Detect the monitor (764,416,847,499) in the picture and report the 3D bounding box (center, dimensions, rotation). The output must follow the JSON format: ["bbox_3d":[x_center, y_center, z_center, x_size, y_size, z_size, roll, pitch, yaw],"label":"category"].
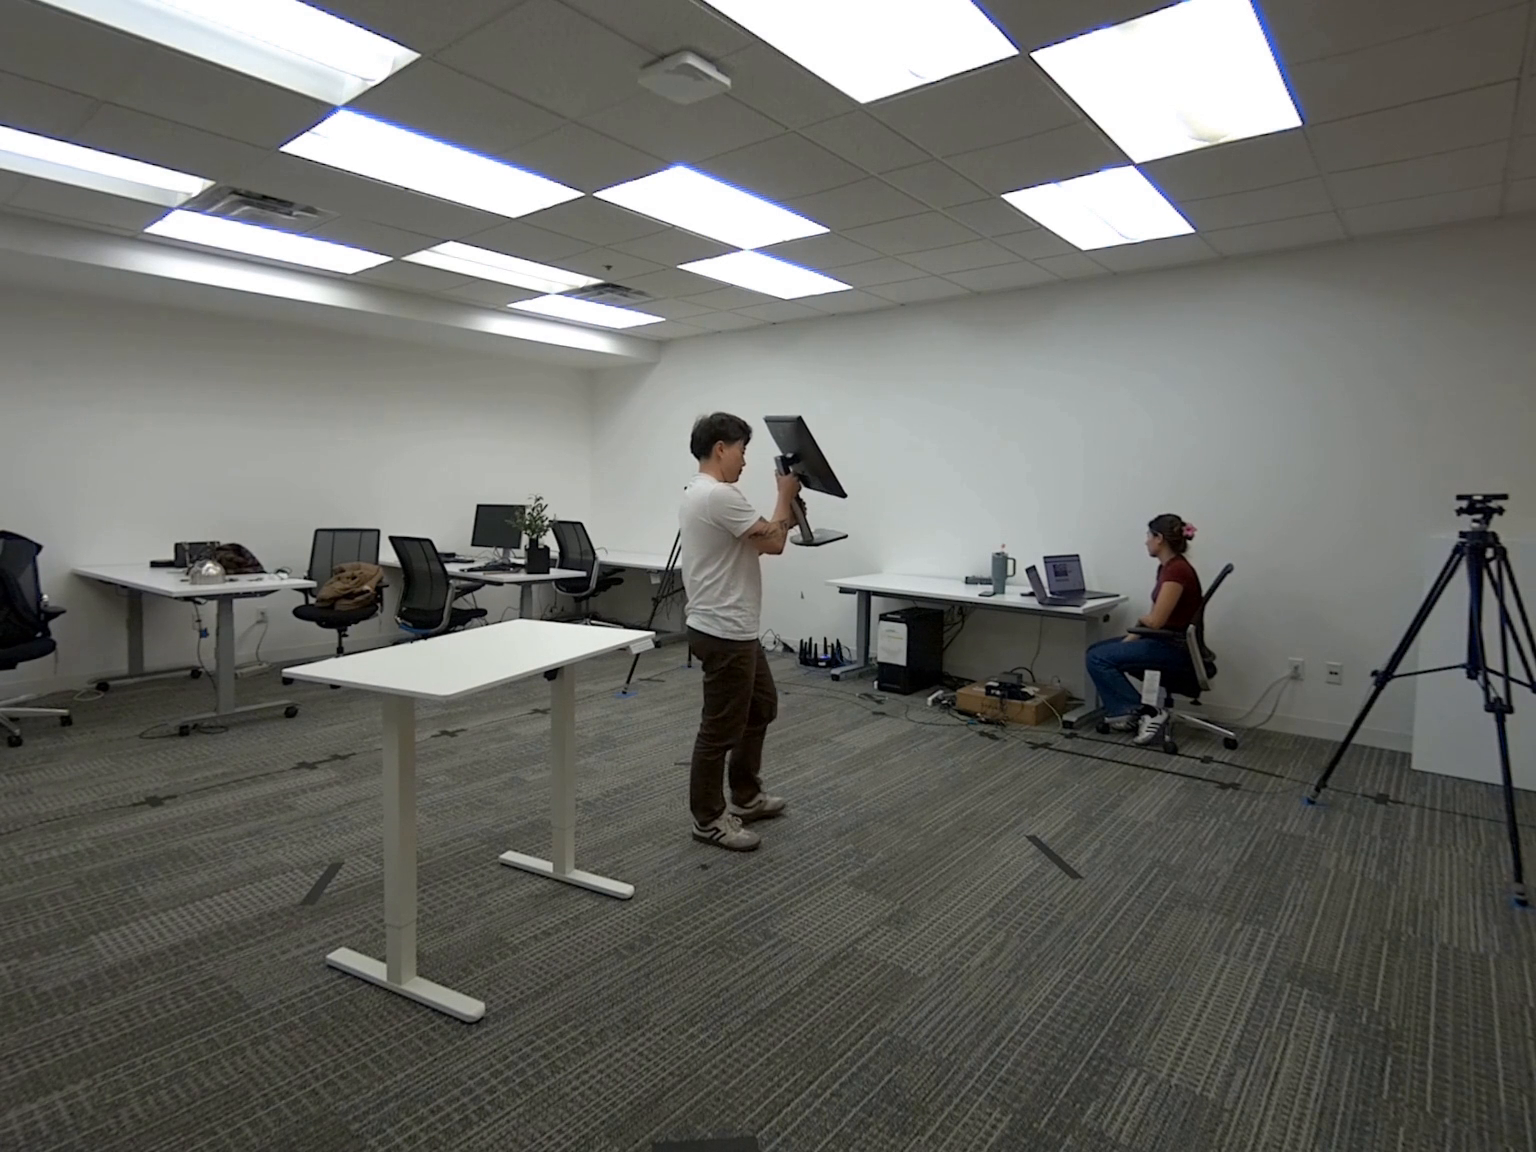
[{"bbox_3d":[0.122,-0.389,3.370,0.186,0.515,0.551,-19,12,-11],"label":"monitor"}]
